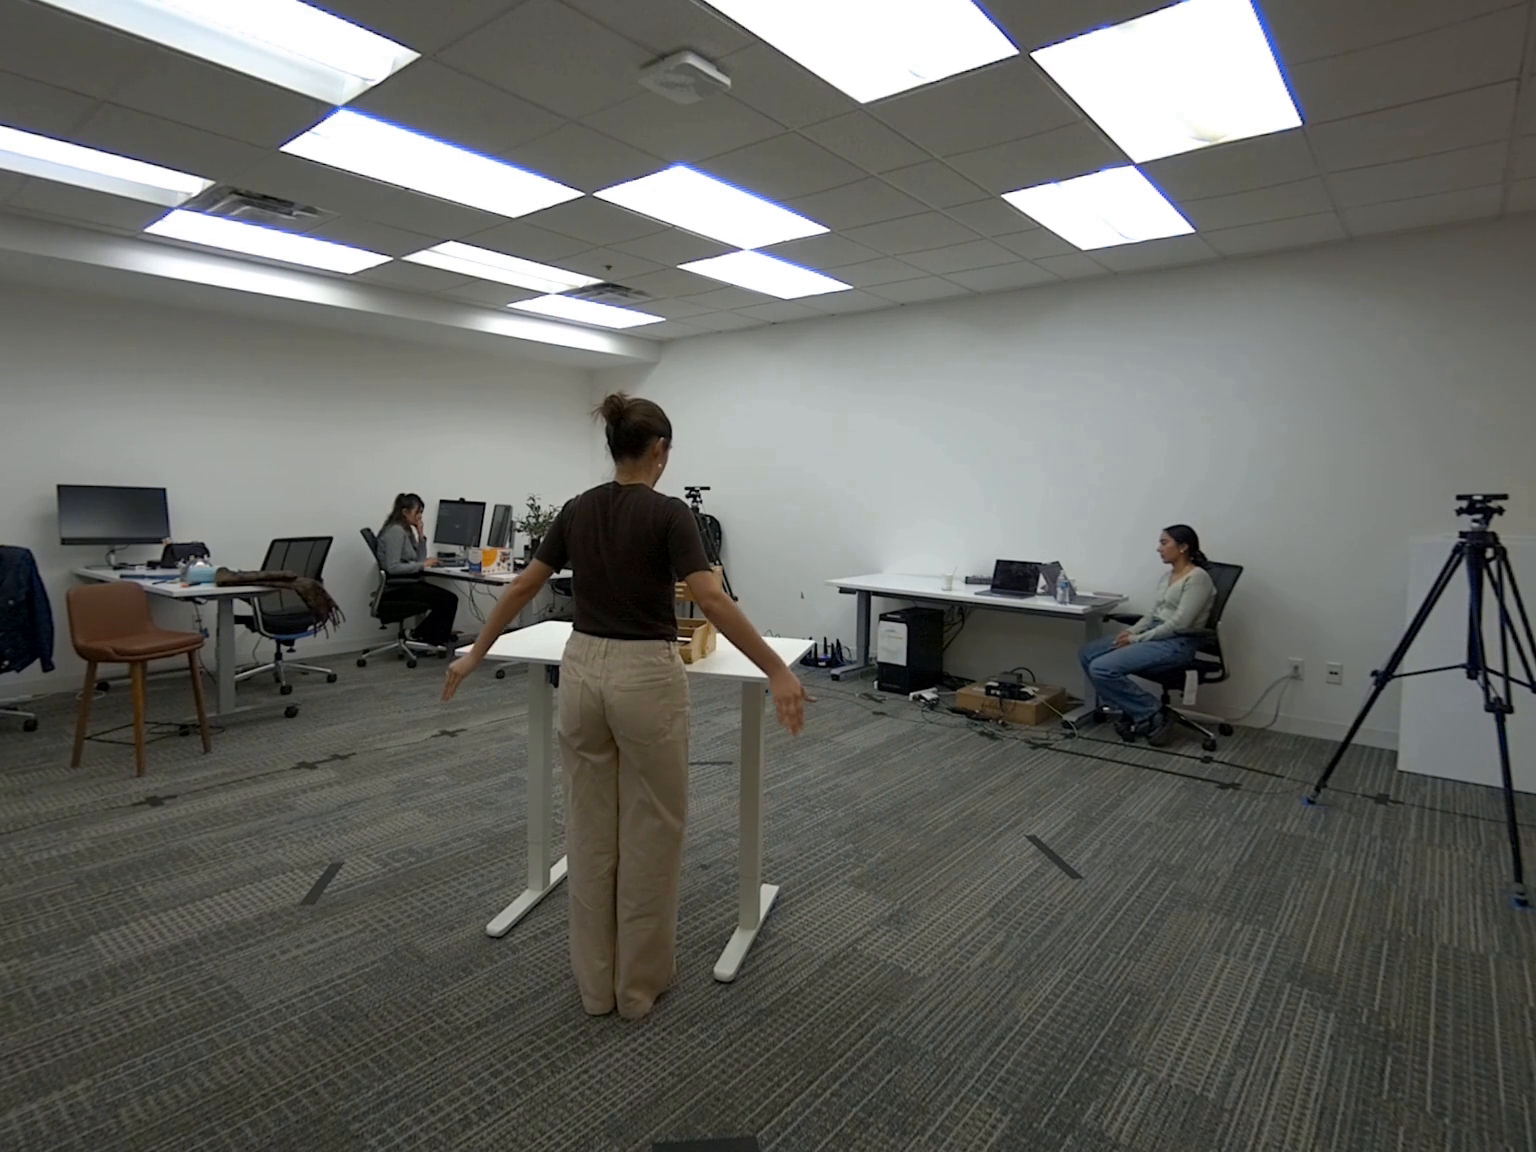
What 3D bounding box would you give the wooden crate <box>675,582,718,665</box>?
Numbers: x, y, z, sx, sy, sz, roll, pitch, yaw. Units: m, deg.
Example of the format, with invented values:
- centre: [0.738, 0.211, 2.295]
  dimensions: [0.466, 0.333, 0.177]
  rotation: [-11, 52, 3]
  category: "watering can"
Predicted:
- centre: [-0.336, 0.102, 2.612]
  dimensions: [0.330, 0.272, 0.298]
  rotation: [2, 4, 15]
  category: "wooden crate"
